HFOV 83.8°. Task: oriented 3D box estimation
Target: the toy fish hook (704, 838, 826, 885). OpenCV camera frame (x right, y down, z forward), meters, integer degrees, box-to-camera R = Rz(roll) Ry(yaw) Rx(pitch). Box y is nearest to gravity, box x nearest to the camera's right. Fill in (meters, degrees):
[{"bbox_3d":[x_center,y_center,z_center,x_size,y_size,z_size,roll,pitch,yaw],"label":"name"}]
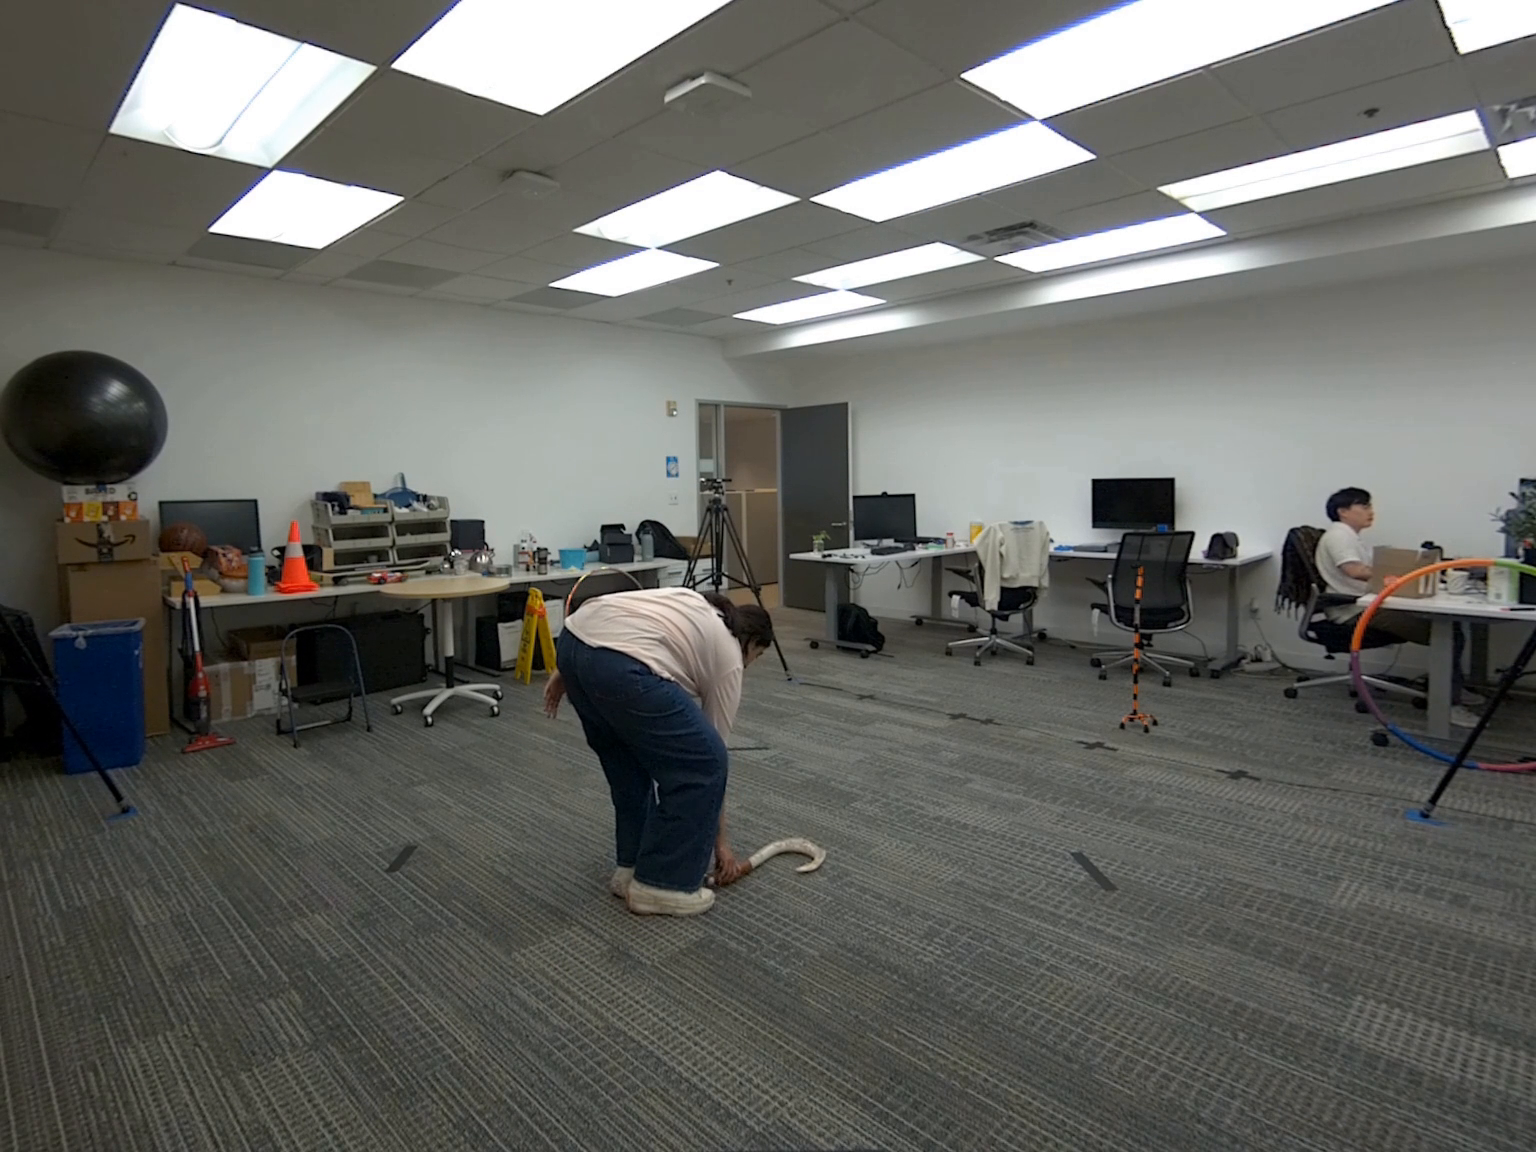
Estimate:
[{"bbox_3d":[0.004,1.020,3.032,0.493,0.048,0.231,-5,5,-41],"label":"toy fish hook"}]
